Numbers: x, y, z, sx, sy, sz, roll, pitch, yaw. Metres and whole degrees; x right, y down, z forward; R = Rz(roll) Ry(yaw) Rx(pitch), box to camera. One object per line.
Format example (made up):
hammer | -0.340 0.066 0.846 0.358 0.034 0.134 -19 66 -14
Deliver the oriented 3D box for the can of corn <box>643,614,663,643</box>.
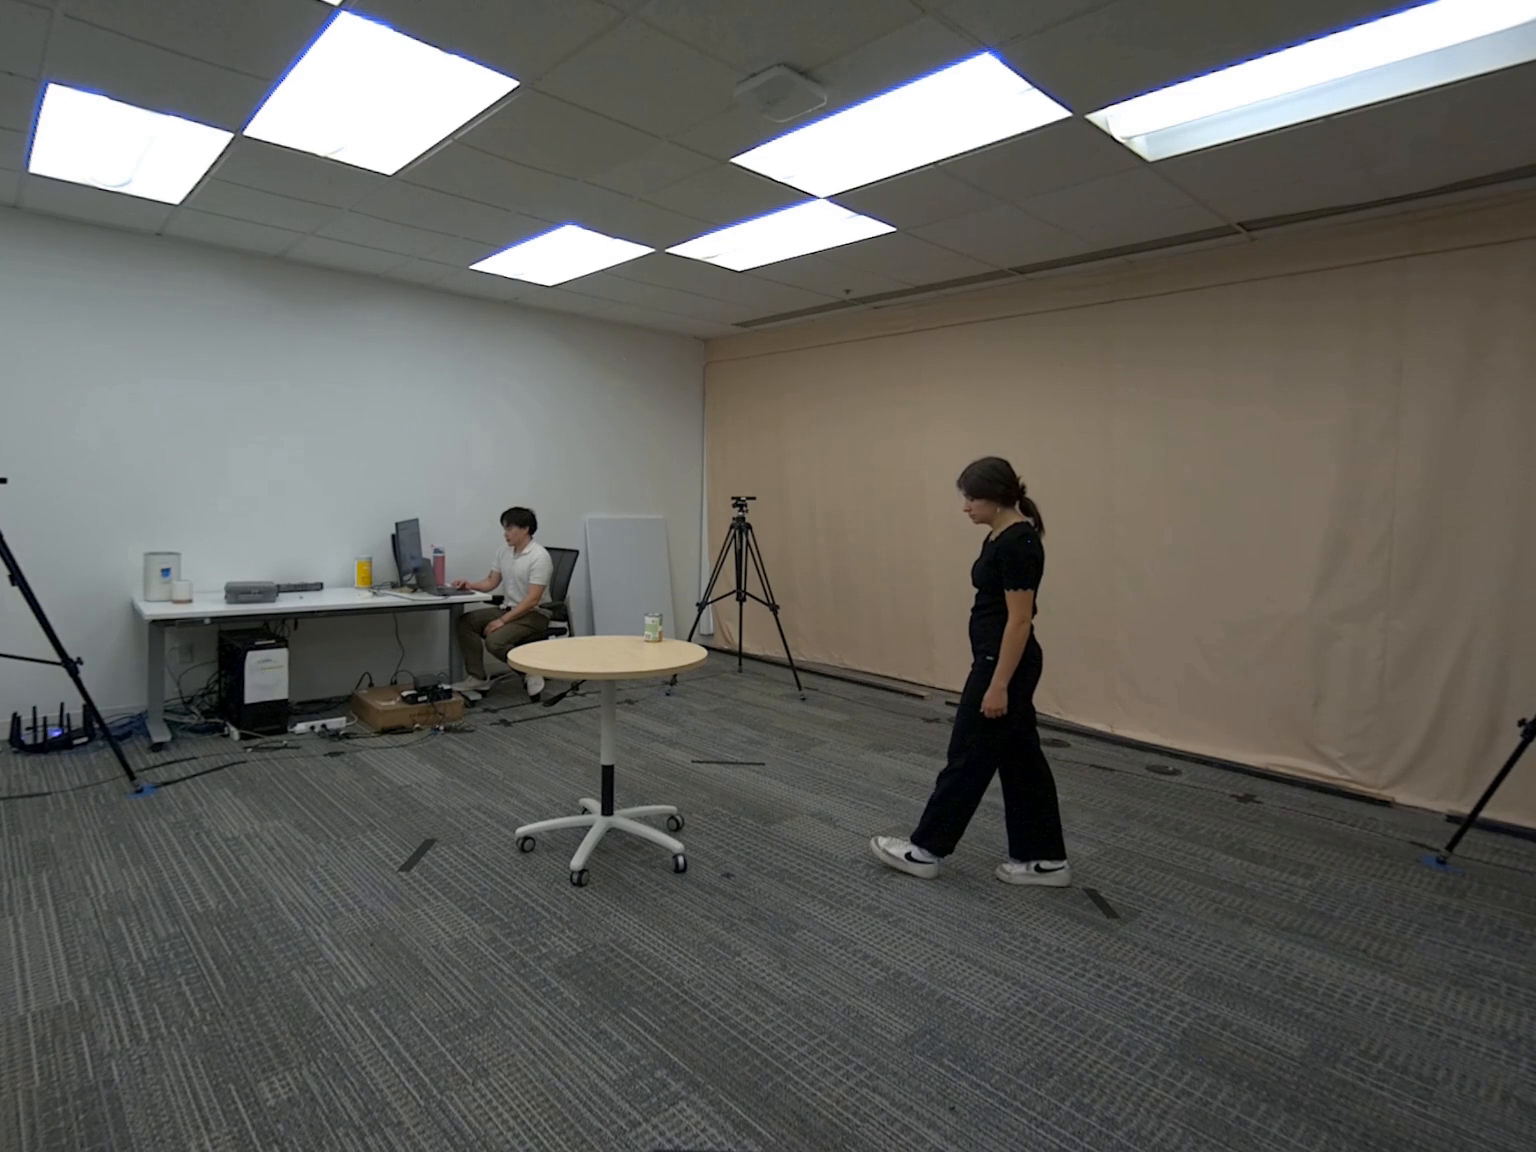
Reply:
can of corn | -0.486 0.217 3.520 0.074 0.111 0.074 1 0 -1
